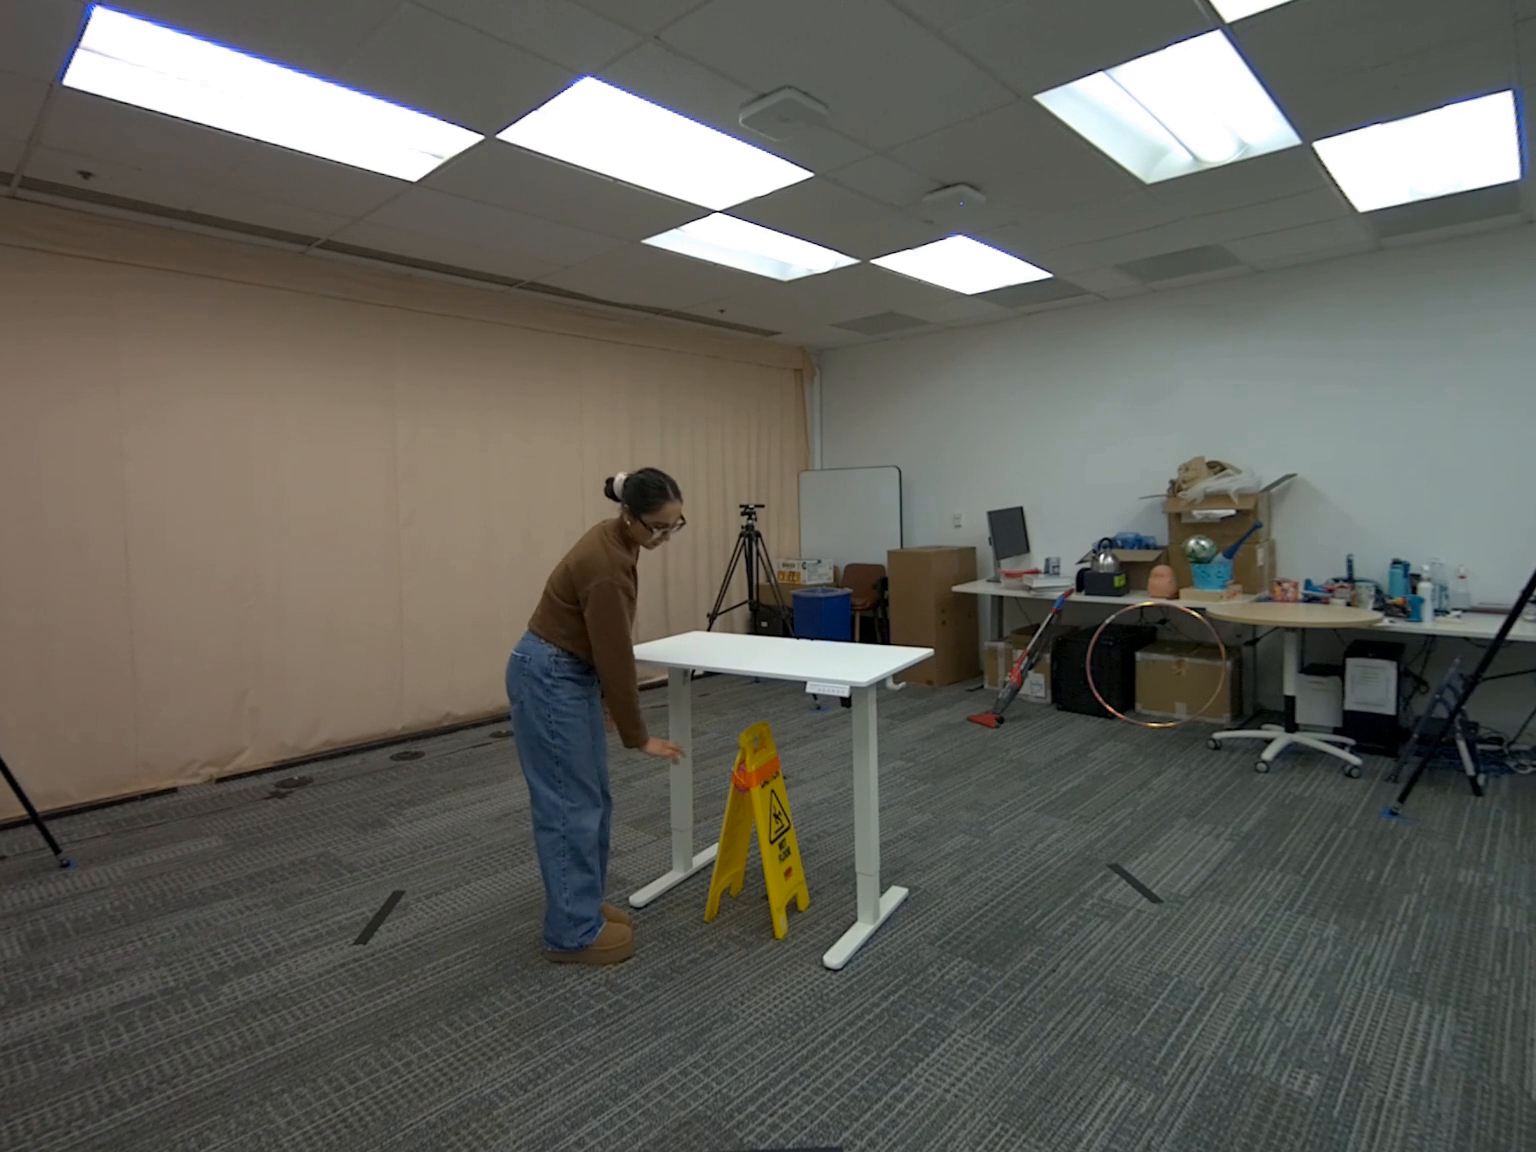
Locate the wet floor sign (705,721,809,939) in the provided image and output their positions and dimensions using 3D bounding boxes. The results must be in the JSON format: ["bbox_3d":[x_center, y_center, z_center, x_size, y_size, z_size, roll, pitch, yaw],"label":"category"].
[{"bbox_3d":[-0.034,0.828,2.851,0.297,0.644,0.276,1,5,25],"label":"wet floor sign"}]
